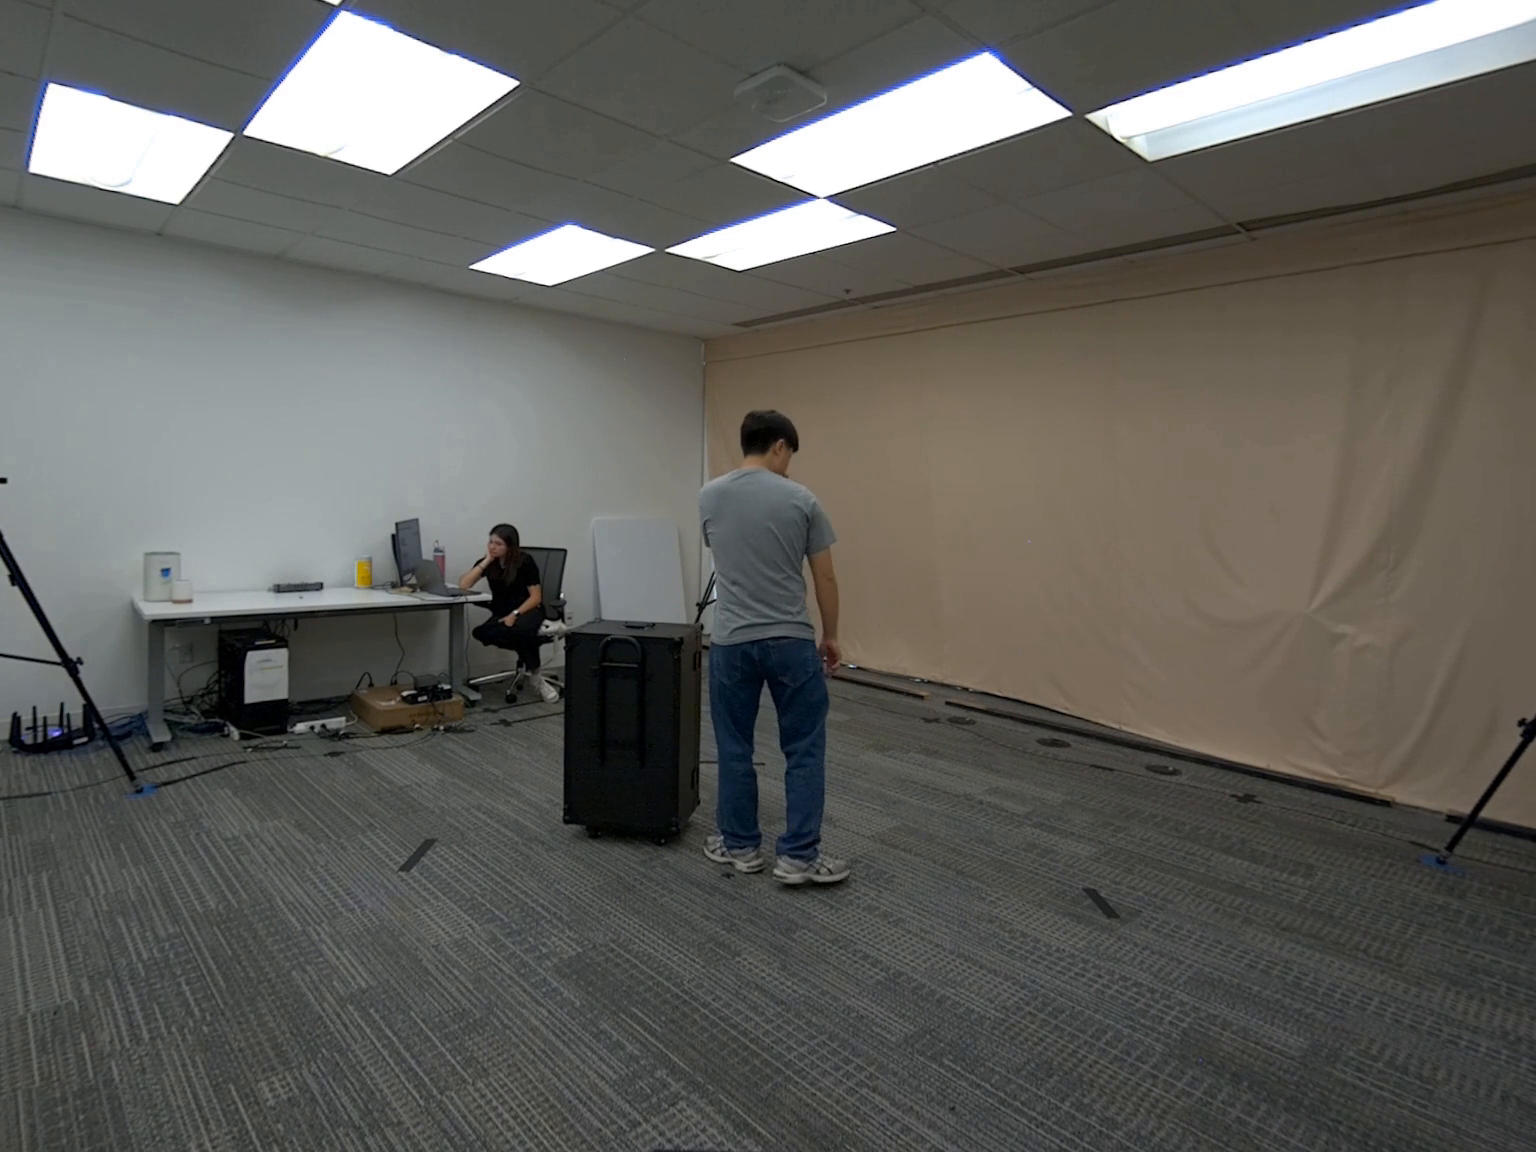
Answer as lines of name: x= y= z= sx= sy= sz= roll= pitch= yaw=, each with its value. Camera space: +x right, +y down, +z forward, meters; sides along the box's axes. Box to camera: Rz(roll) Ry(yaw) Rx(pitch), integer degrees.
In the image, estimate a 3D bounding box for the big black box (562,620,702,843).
big black box: x=-0.556 y=0.642 z=3.479 sx=0.526 sy=0.859 sz=0.394 roll=3 pitch=4 yaw=11
